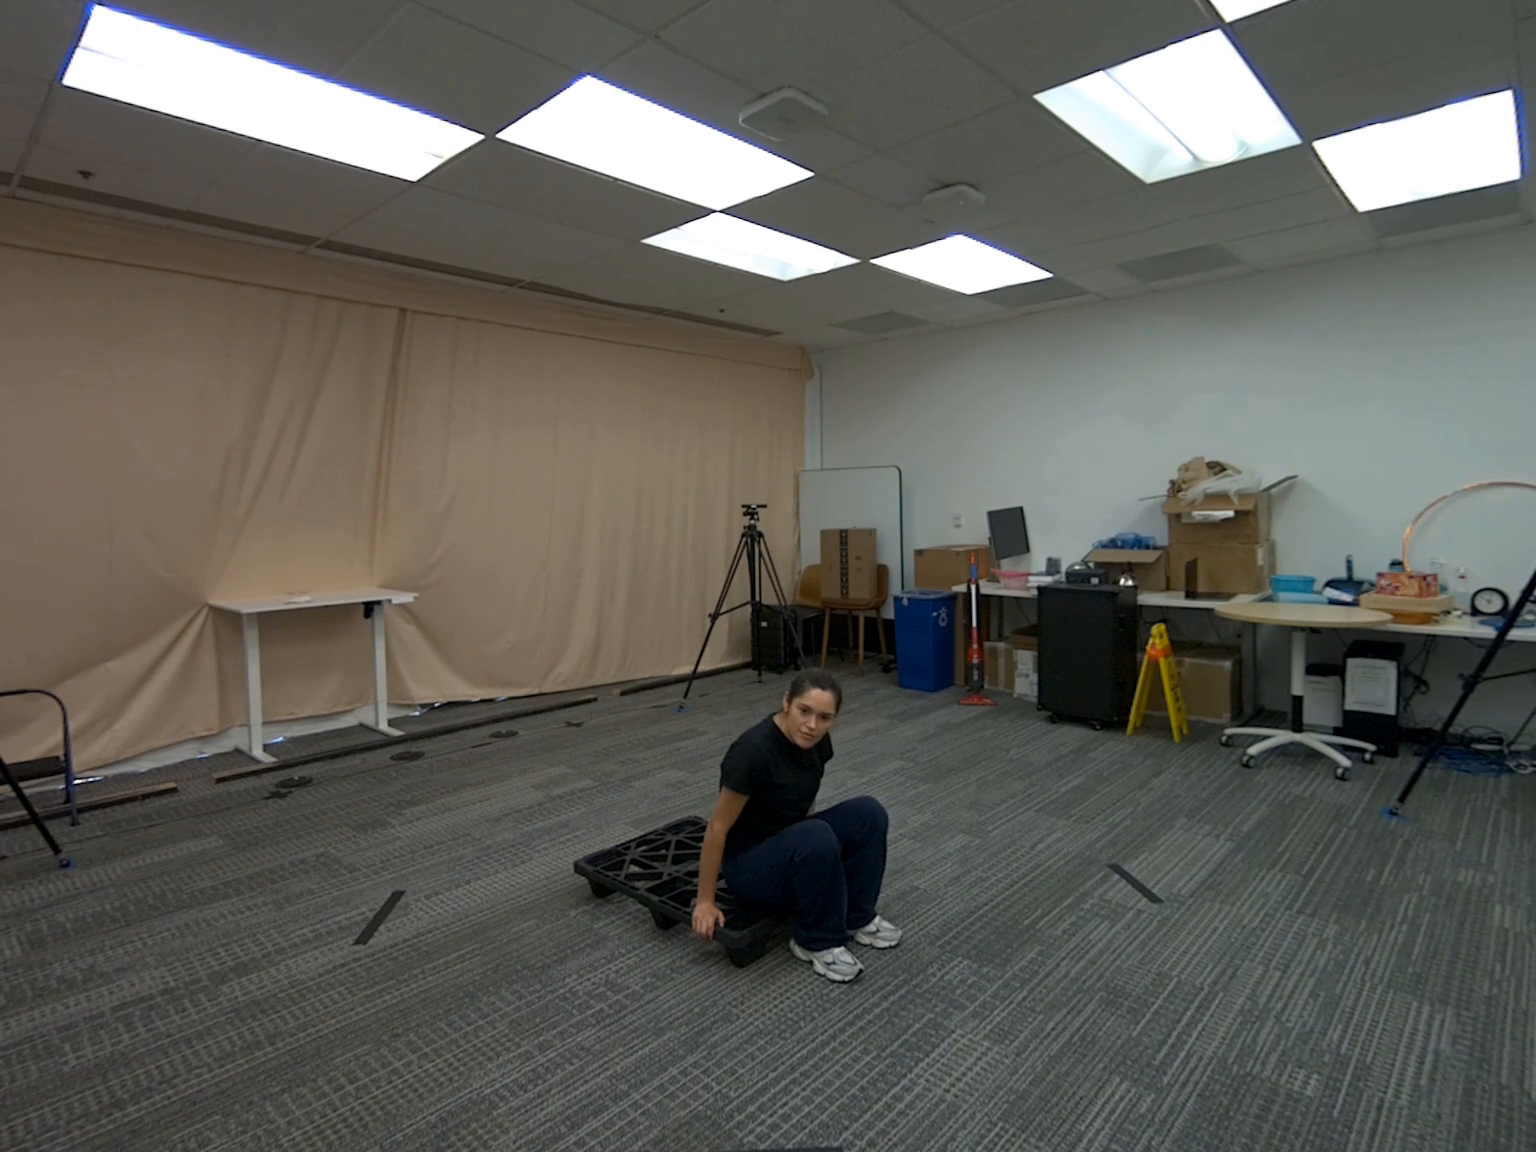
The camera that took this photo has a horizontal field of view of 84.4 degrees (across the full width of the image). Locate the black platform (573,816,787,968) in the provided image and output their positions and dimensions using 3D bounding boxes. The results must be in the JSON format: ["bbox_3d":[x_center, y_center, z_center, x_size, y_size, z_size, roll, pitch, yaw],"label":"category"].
[{"bbox_3d":[-0.192,1.083,2.943,0.832,0.143,0.587,4,7,42],"label":"black platform"}]
